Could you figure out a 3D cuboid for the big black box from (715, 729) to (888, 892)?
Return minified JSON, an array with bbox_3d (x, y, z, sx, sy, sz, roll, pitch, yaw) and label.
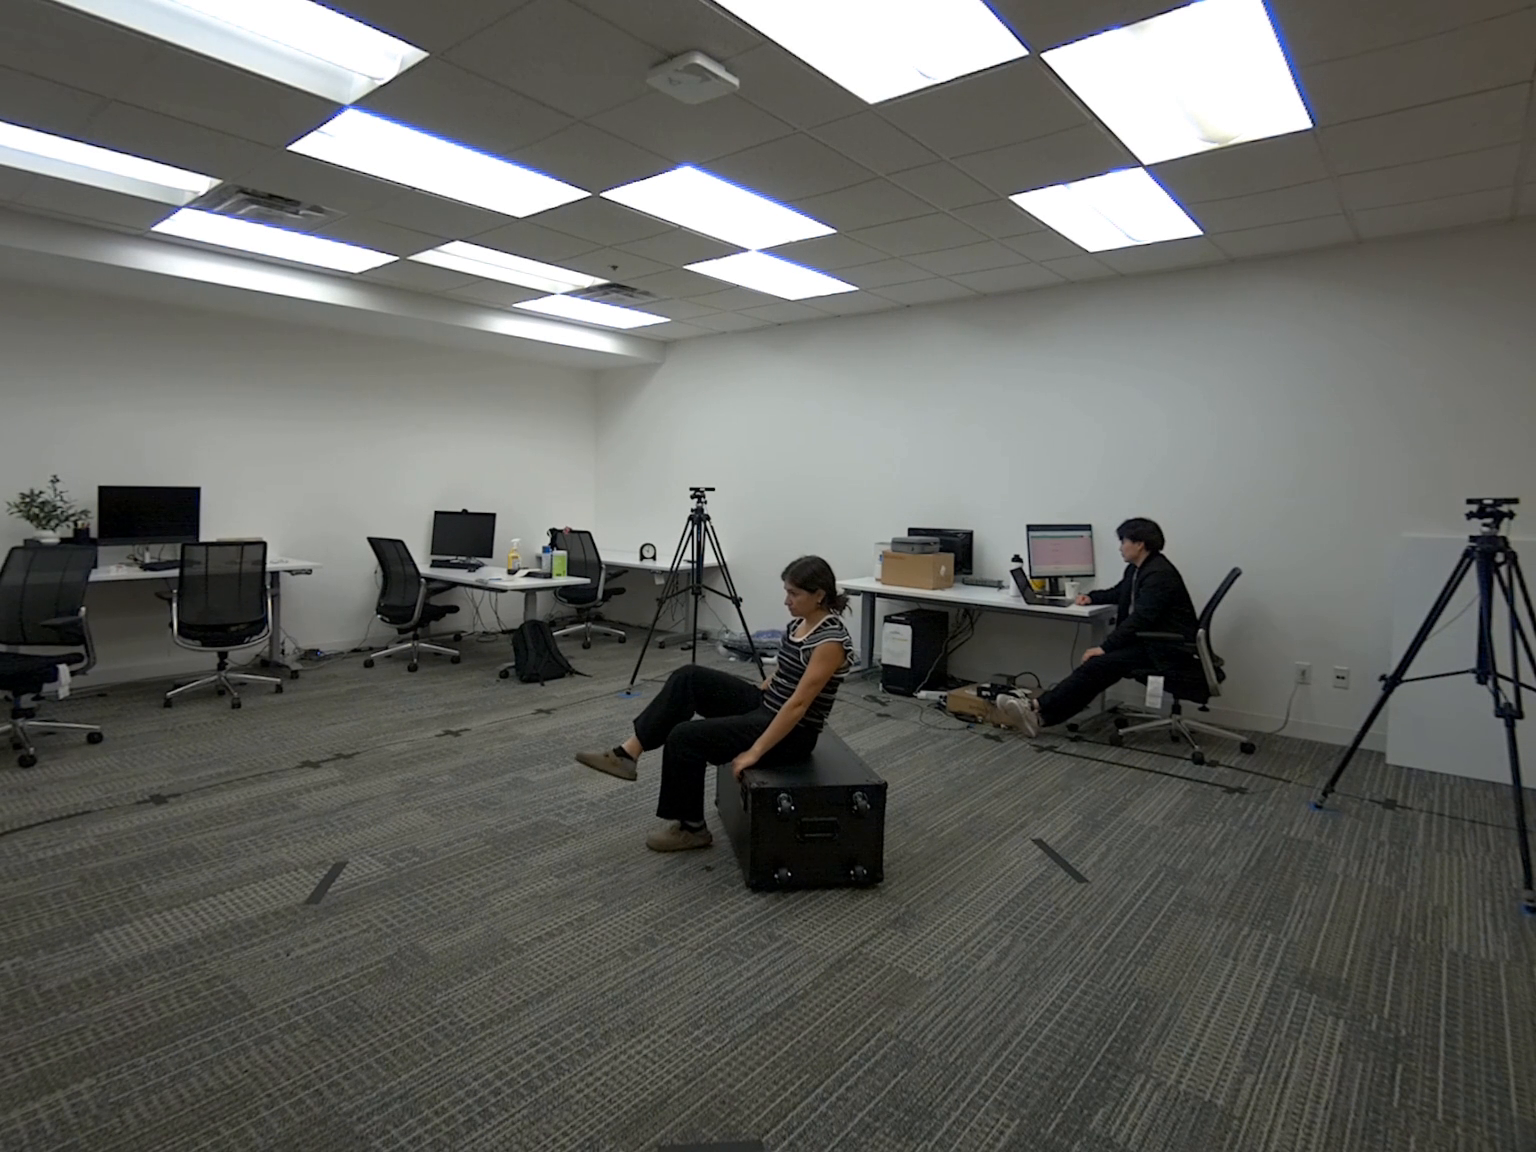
[{"bbox_3d":[0.087,0.859,3.285,0.515,0.395,0.875,0,5,-12],"label":"big black box"}]
